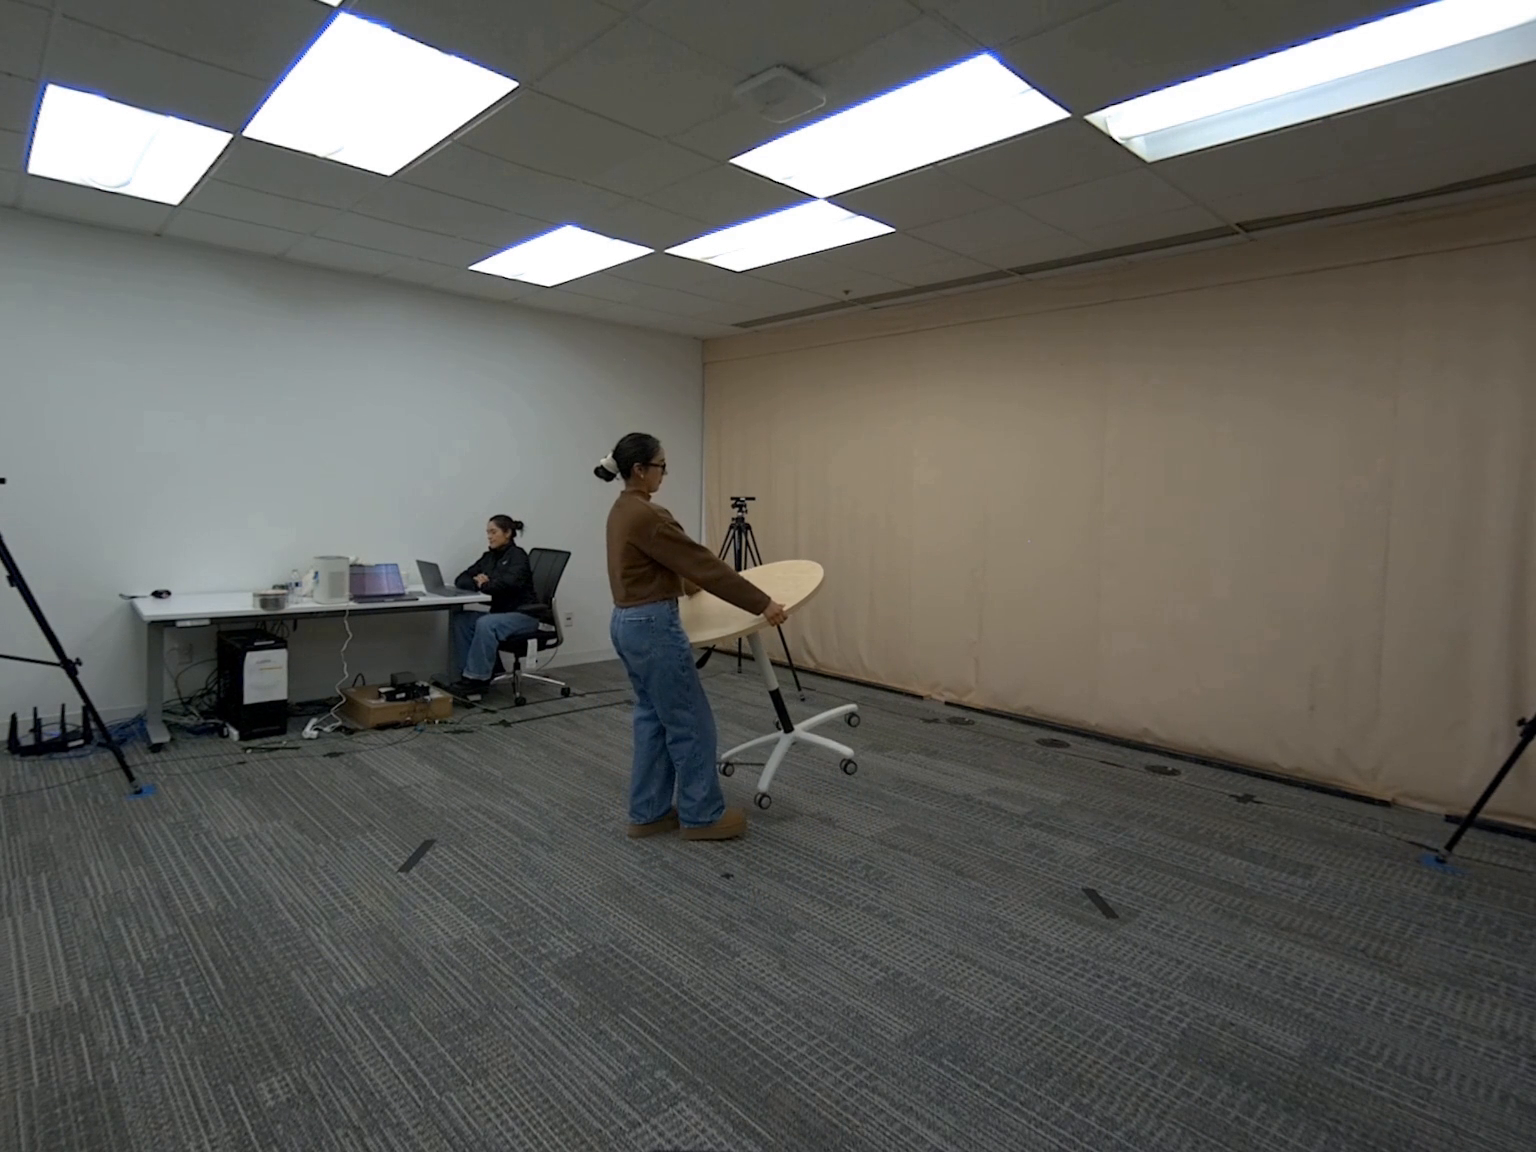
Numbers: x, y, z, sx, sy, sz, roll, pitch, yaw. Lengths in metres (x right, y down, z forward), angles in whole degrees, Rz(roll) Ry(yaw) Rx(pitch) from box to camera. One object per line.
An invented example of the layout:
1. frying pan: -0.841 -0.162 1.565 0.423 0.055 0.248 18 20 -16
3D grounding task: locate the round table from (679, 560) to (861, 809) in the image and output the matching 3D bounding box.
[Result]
1. round table: 0.003 0.456 3.715 0.787 0.775 0.794 -19 15 4
